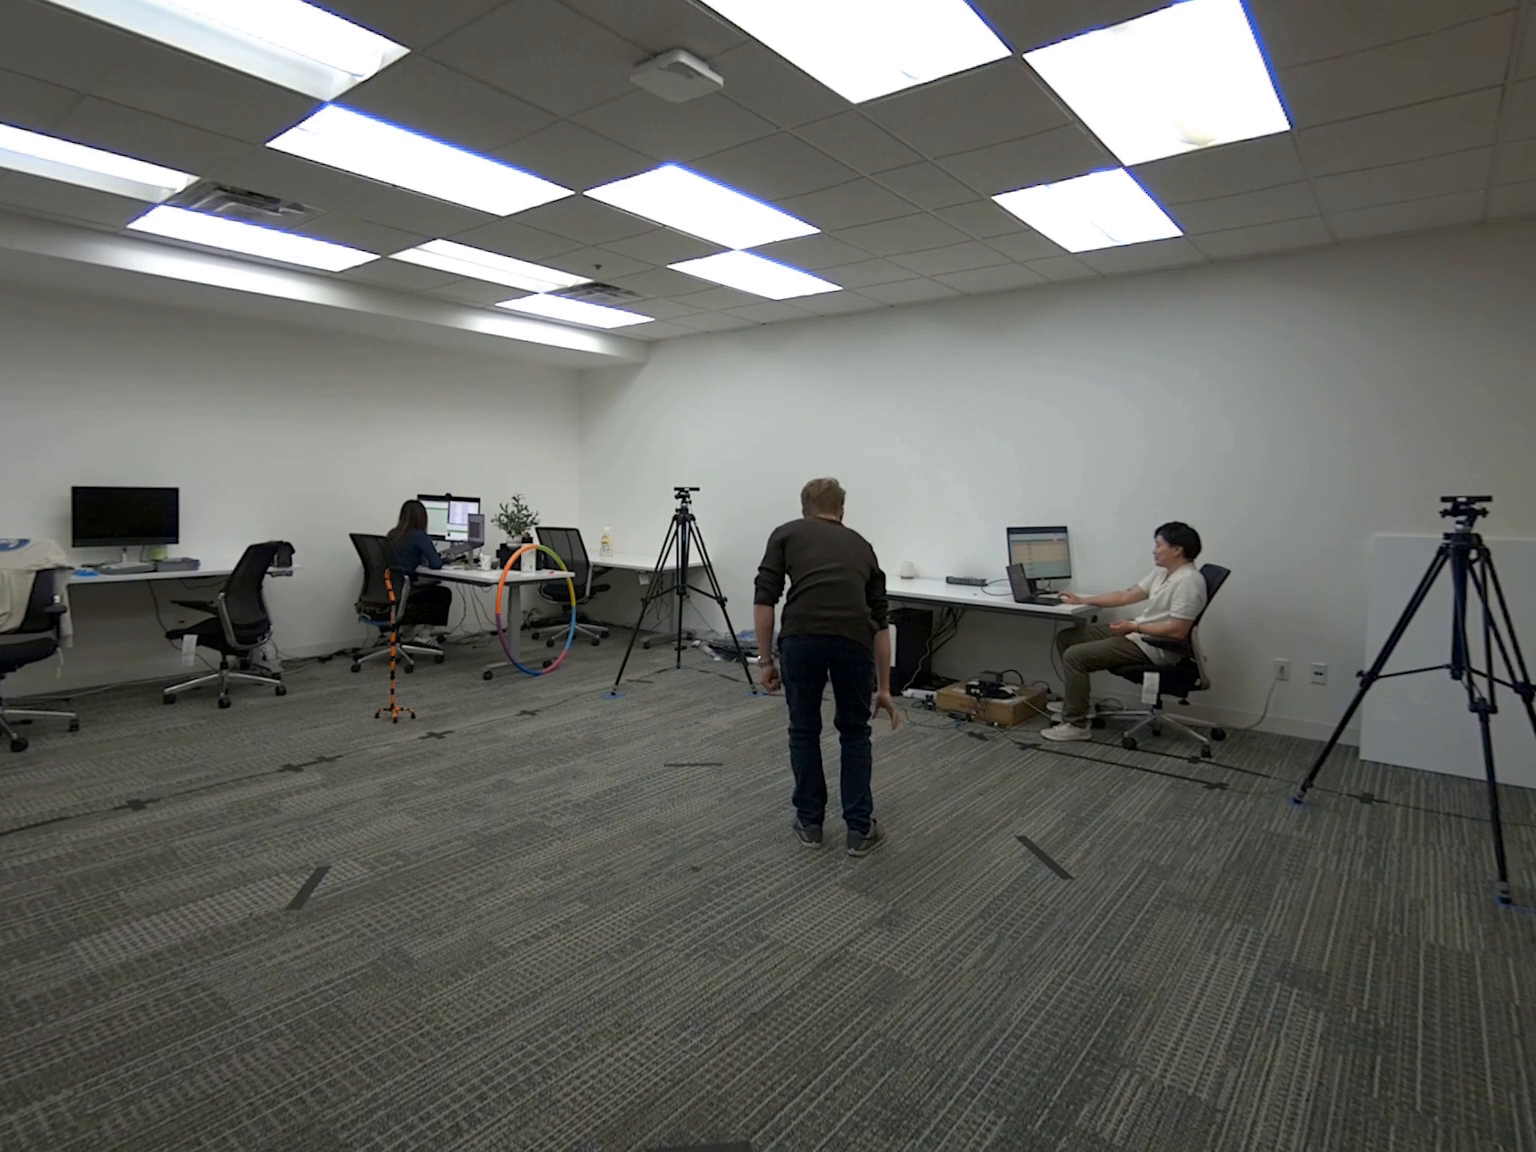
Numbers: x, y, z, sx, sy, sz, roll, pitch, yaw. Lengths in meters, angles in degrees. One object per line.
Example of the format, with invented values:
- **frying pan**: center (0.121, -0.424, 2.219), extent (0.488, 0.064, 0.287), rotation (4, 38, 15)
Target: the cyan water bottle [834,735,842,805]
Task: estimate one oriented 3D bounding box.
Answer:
- **cyan water bottle**: center (0.353, 0.866, 3.772), extent (0.092, 0.282, 0.093), rotation (1, 3, -2)
